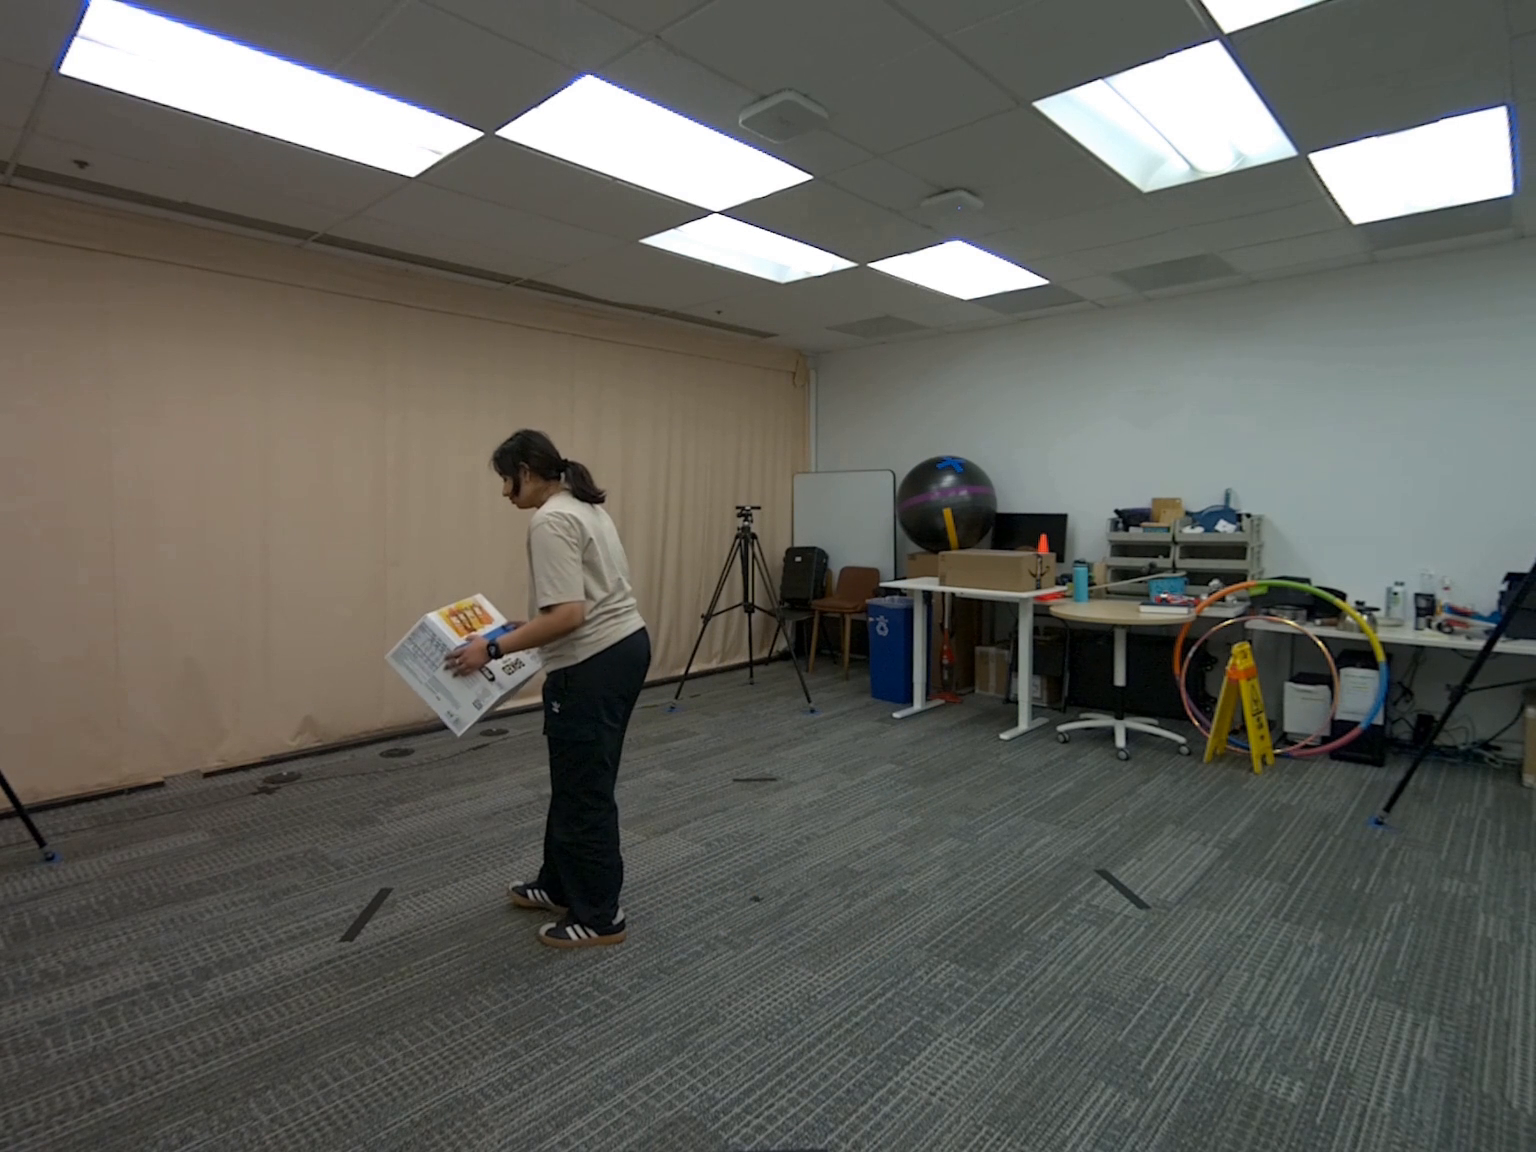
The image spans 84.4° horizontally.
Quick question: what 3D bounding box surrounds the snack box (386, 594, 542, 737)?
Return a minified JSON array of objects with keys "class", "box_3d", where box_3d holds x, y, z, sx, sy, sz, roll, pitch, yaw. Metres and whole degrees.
[{"class":"snack box","box_3d":[-0.976,0.283,2.755,0.206,0.340,0.404,-44,1,9]}]
